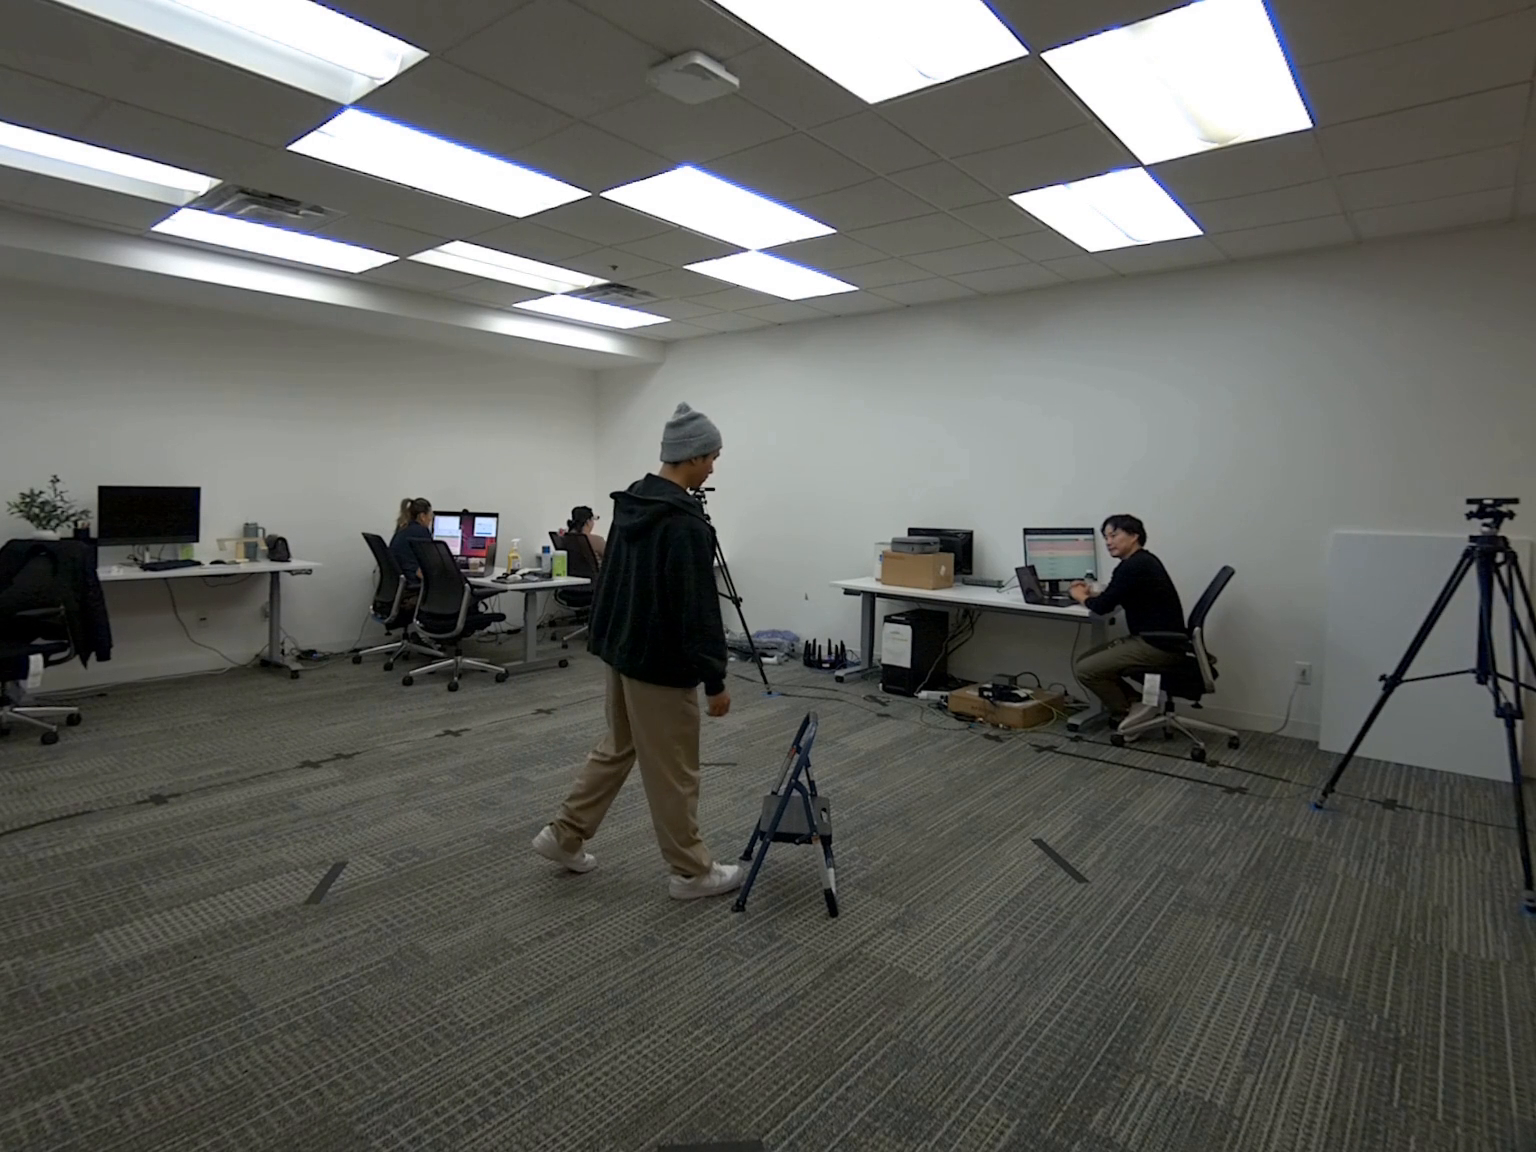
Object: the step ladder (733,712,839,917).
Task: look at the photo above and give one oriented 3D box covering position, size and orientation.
[{"bbox_3d":[0.066,0.788,2.966,0.351,0.605,0.430,1,3,3],"label":"step ladder"}]
